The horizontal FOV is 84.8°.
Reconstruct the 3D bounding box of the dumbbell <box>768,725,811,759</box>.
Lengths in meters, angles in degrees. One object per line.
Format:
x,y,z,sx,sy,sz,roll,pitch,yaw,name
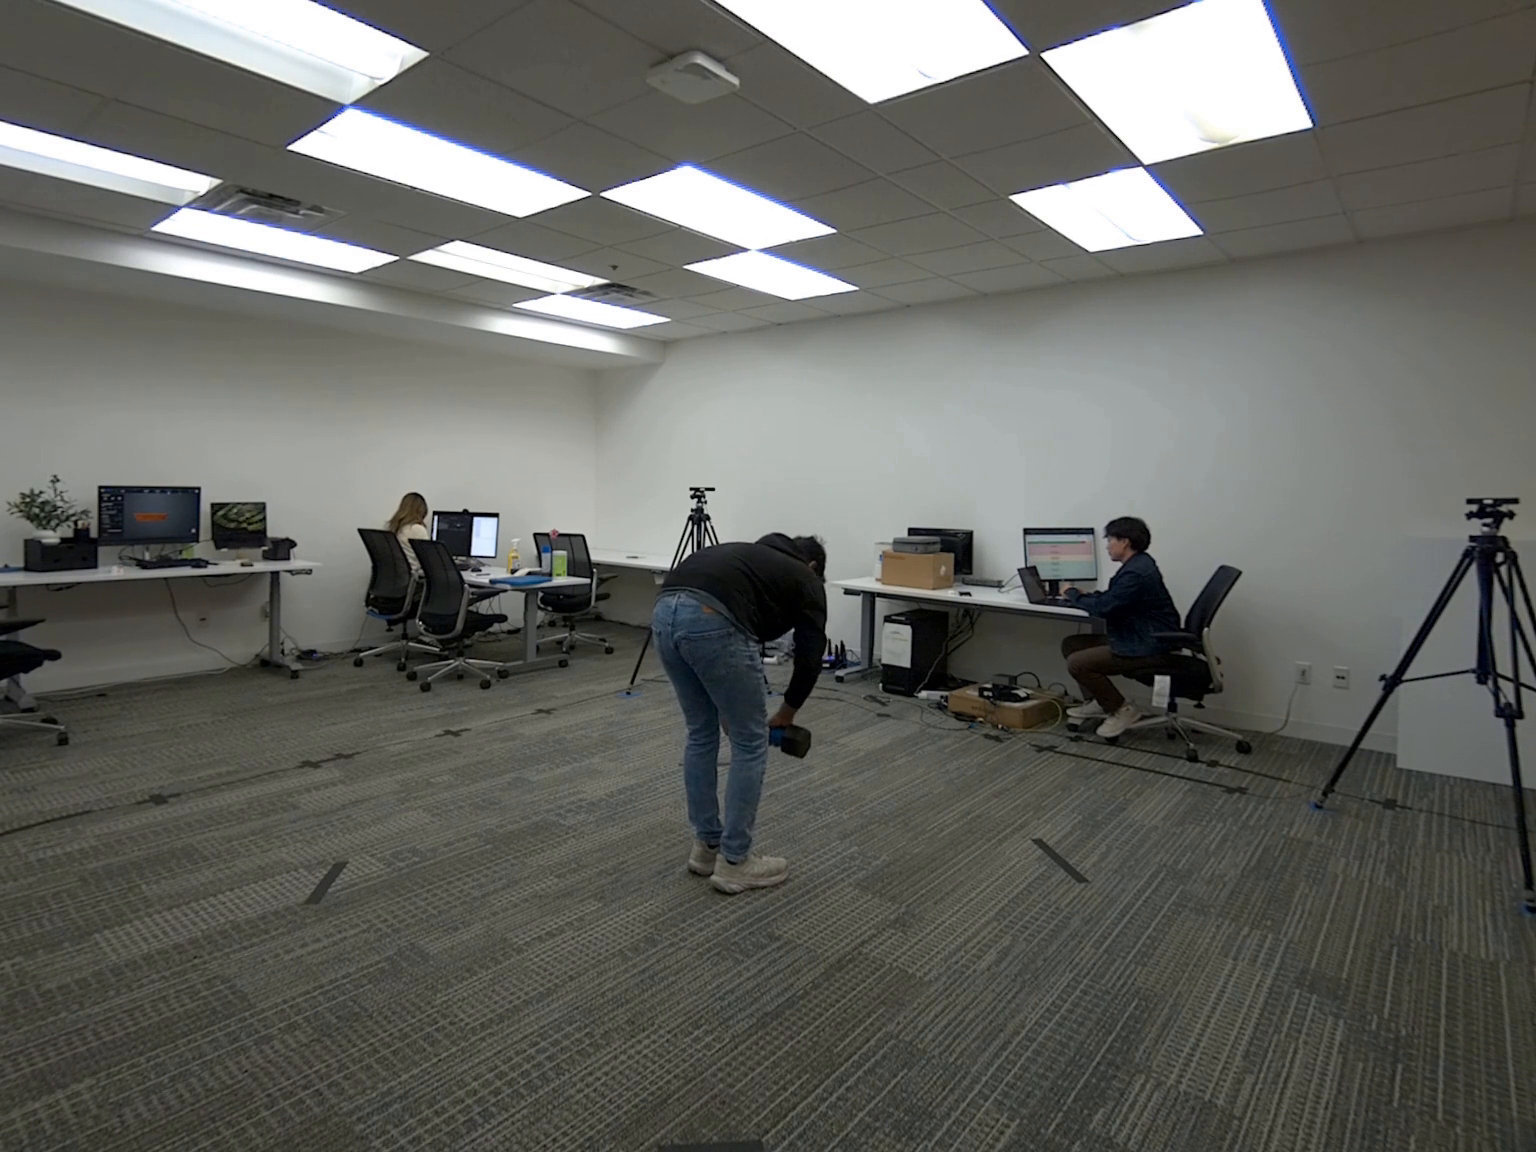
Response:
0.001,0.592,3.177,0.303,0.105,0.123,8,42,30,dumbbell
